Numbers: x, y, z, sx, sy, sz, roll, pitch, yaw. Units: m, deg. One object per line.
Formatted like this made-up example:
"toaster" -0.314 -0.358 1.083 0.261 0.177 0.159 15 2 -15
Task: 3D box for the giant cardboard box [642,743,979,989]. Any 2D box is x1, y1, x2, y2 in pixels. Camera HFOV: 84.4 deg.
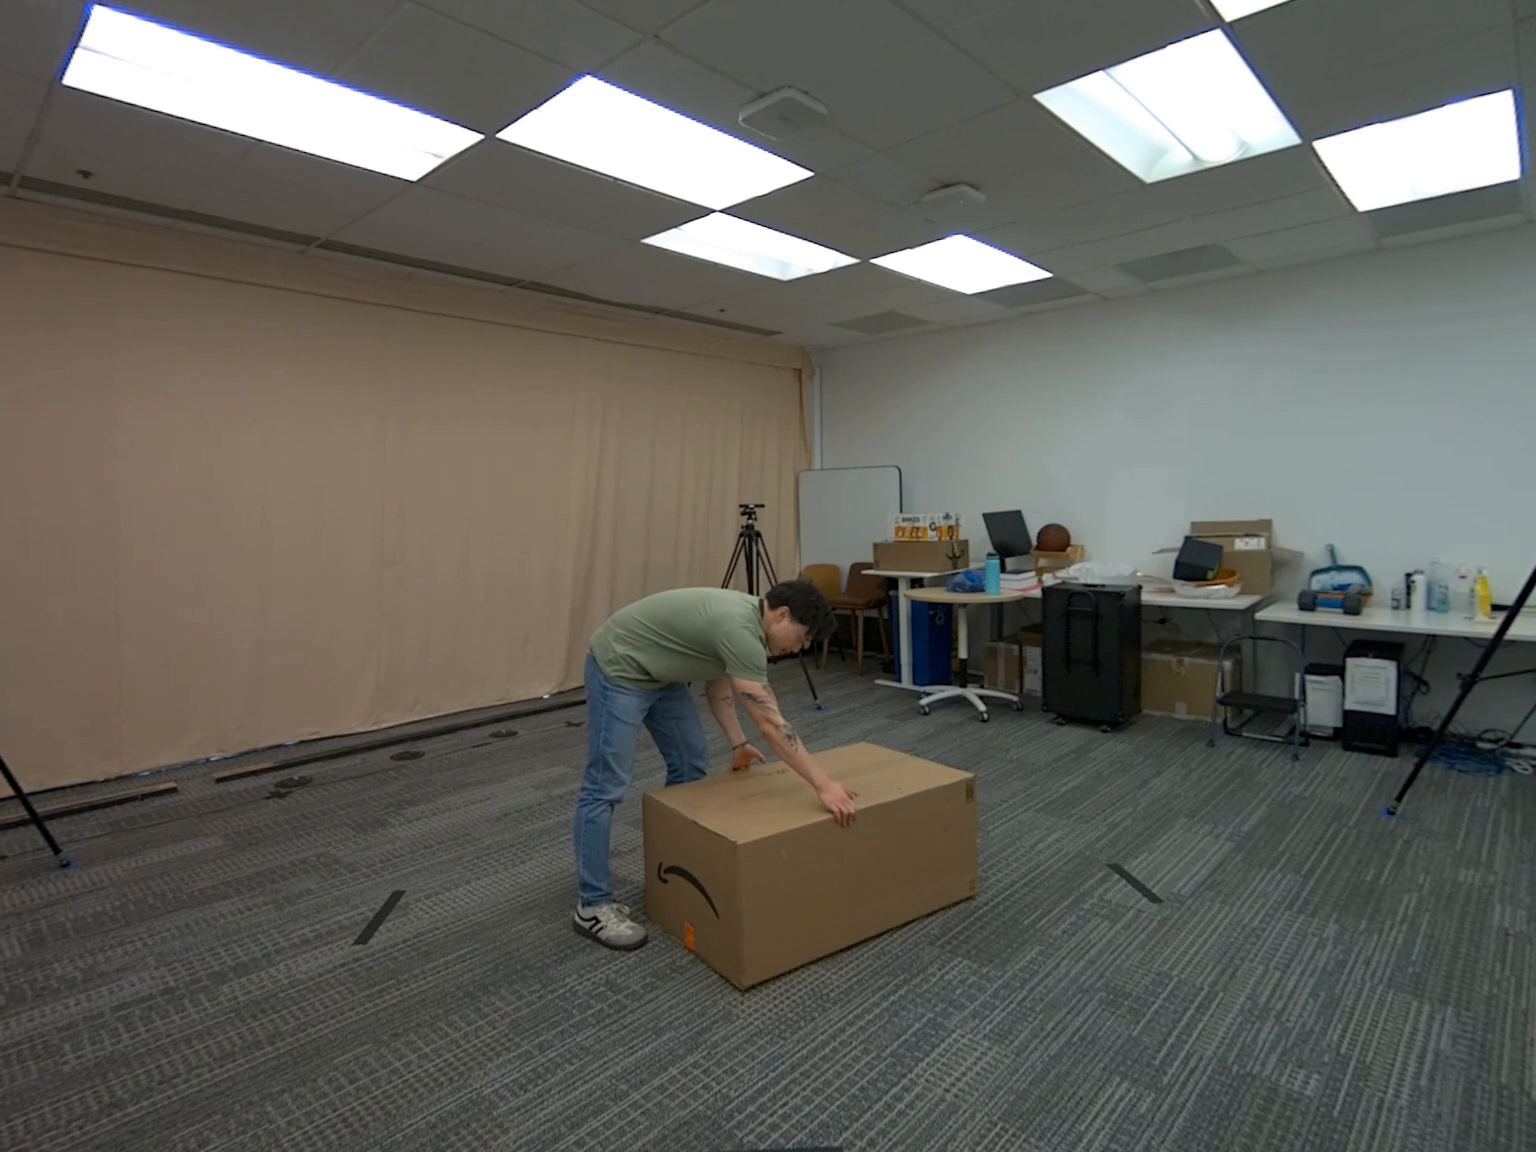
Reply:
"giant cardboard box" 0.163 0.919 2.900 0.996 0.425 0.595 -4 4 -35
